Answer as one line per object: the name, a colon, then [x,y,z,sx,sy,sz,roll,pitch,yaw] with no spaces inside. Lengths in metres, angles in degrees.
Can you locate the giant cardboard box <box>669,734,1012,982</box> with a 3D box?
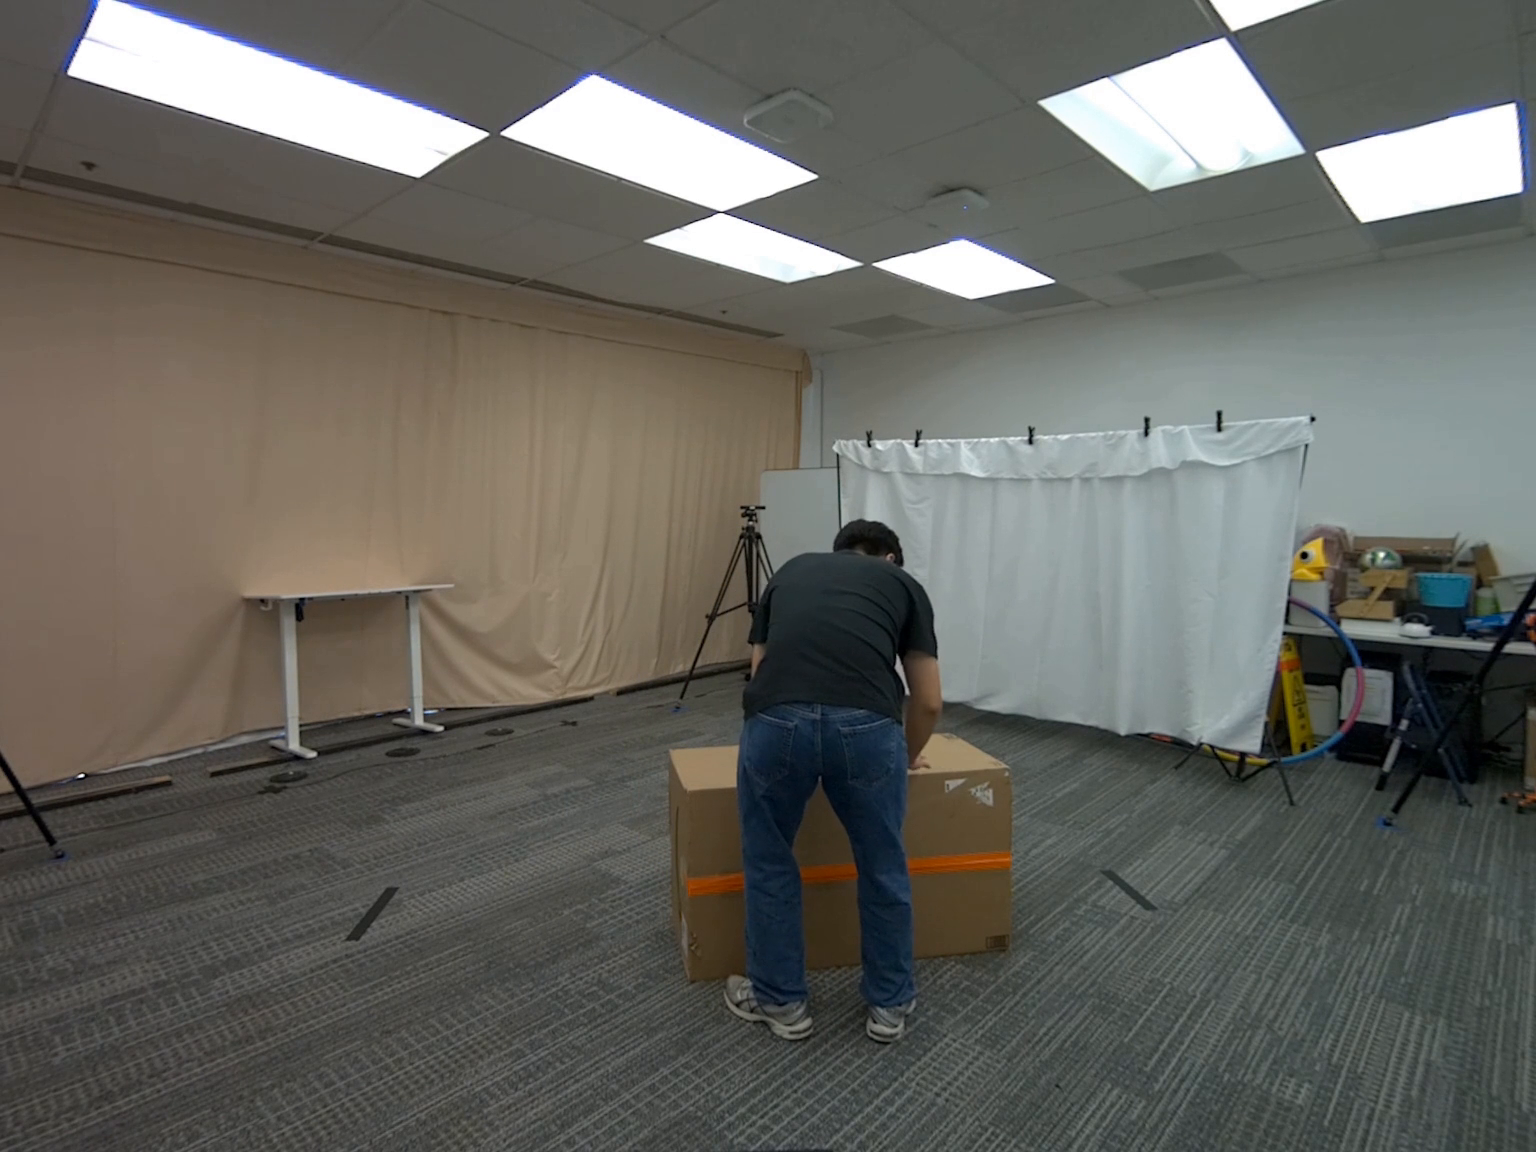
giant cardboard box: [0.214,0.876,2.736,1.015,0.582,0.453,-2,5,-11]
